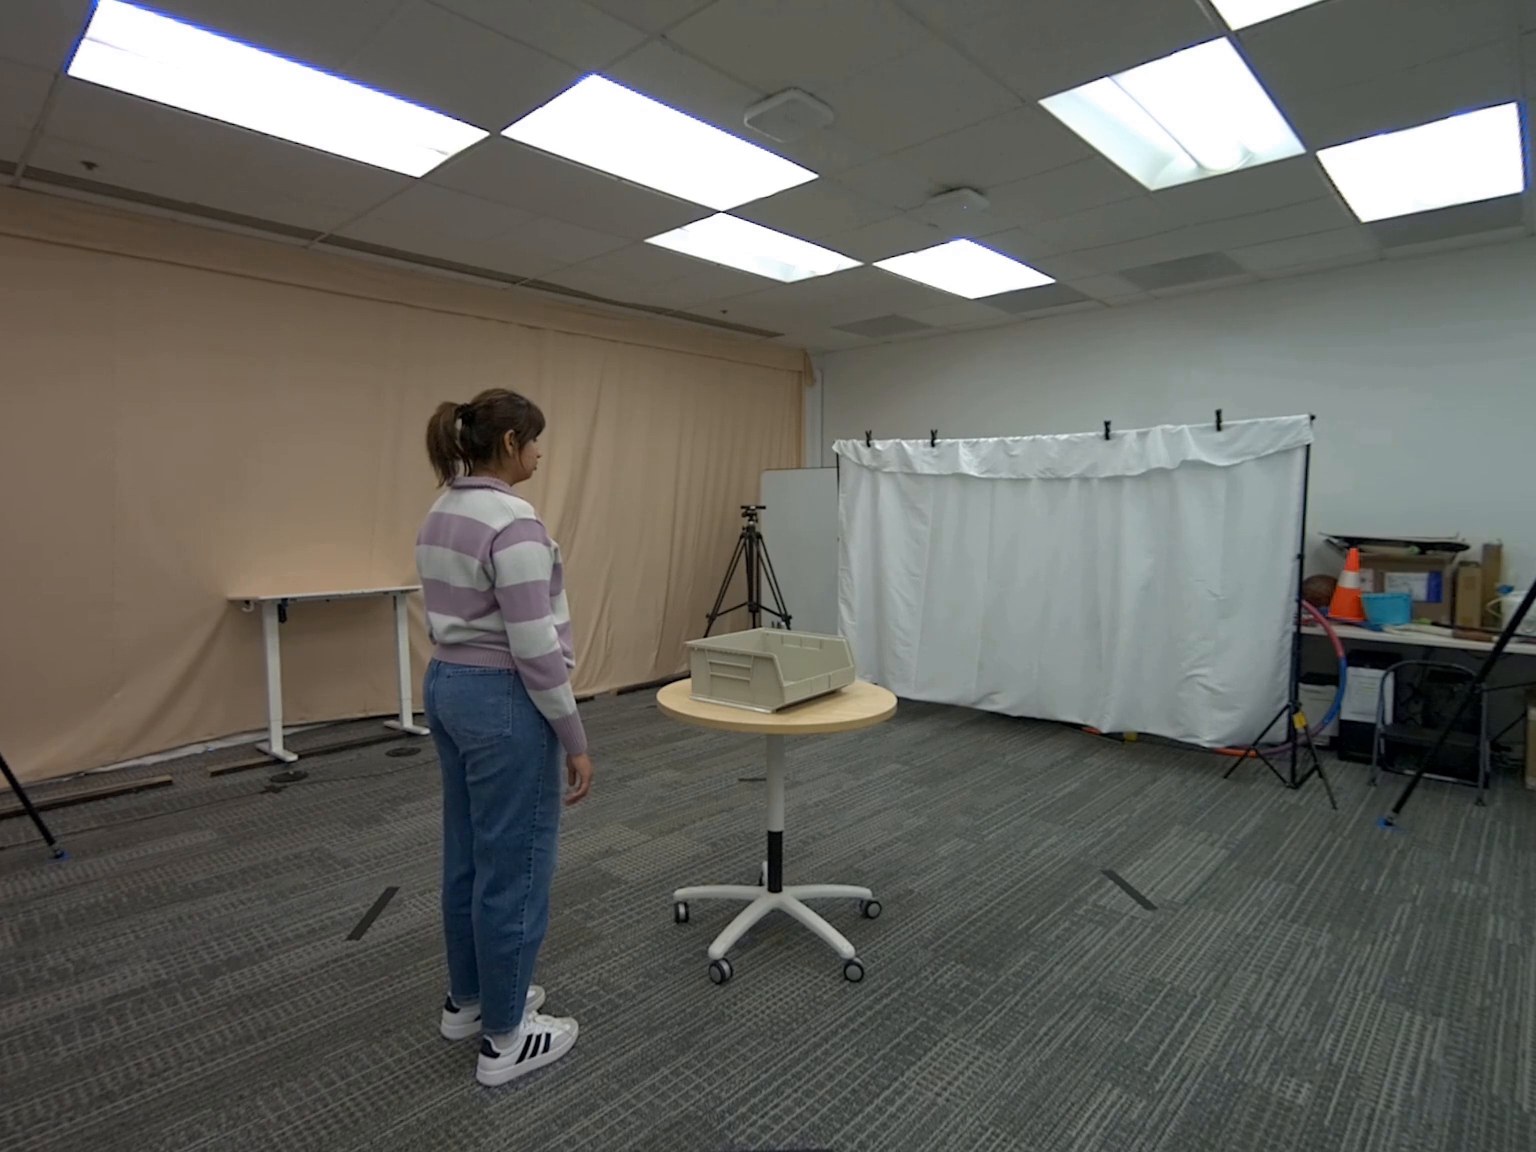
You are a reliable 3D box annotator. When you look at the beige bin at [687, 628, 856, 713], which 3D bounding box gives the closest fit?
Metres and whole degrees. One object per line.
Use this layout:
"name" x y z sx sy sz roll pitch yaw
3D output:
"beige bin" 0.017 0.296 2.689 0.389 0.188 0.410 1 5 37
